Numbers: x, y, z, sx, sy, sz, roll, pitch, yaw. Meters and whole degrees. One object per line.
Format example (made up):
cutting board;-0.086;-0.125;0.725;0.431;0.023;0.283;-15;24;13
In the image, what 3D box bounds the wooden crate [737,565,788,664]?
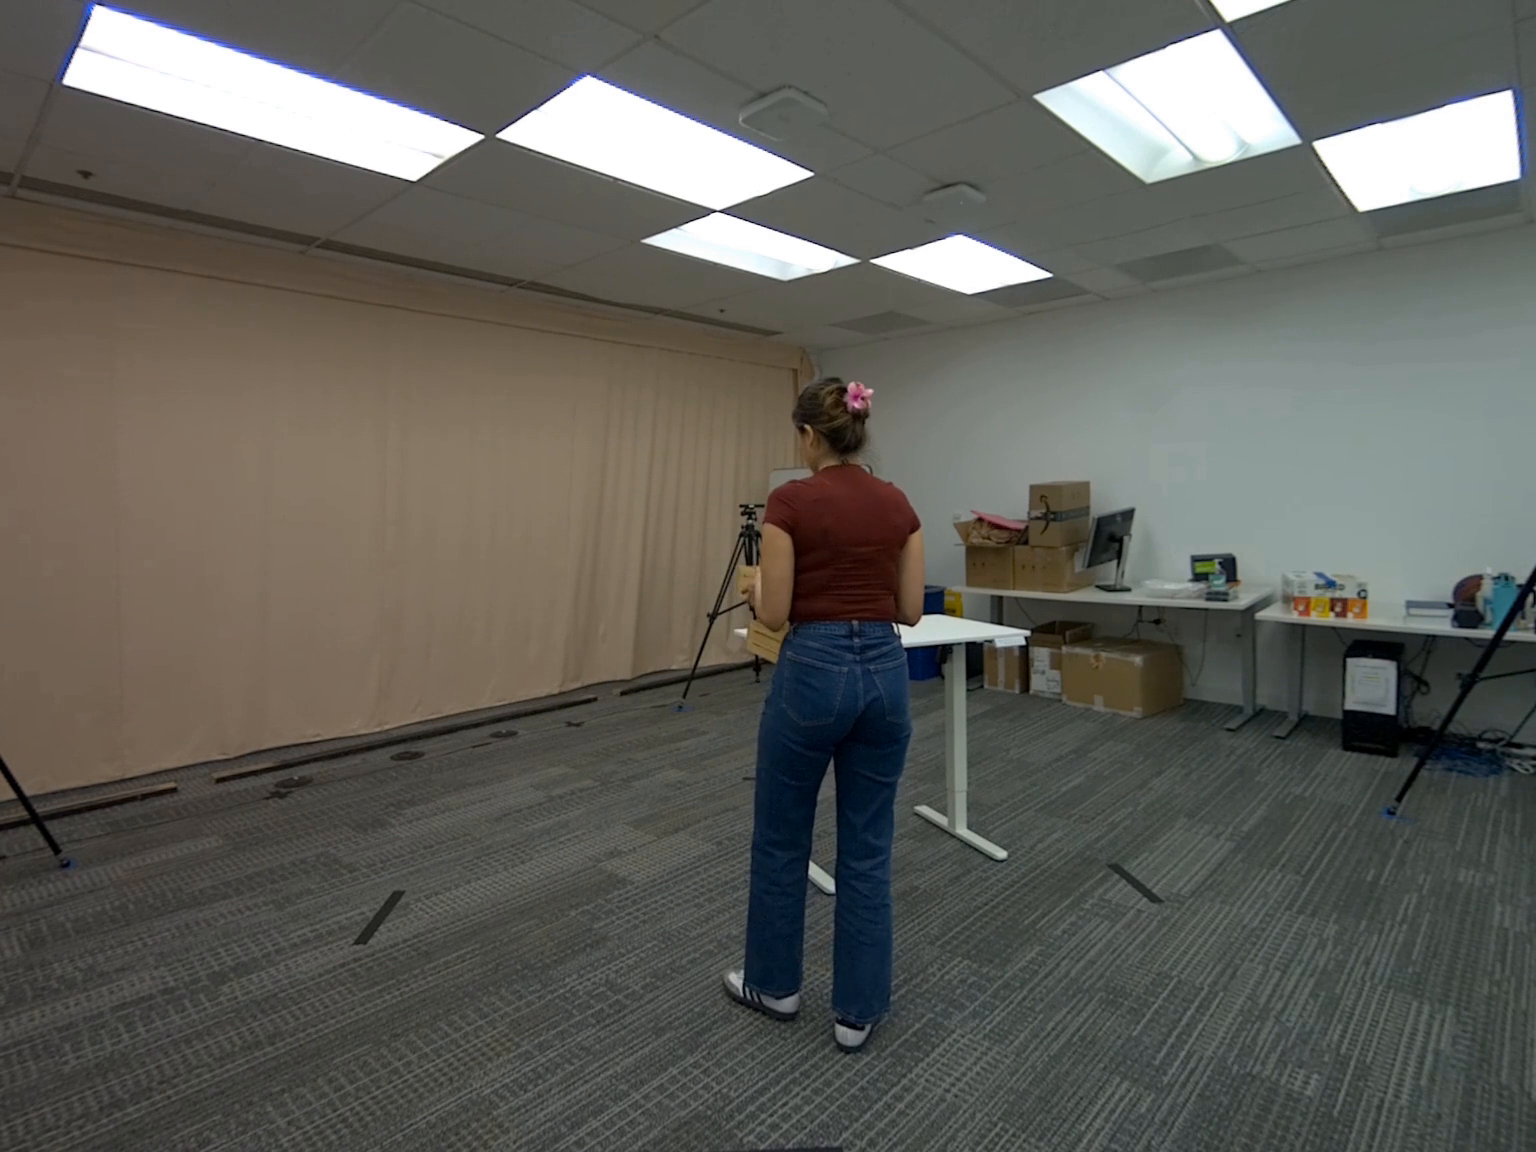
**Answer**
wooden crate;0.111;0.117;2.513;0.295;0.273;0.333;3;5;-23
